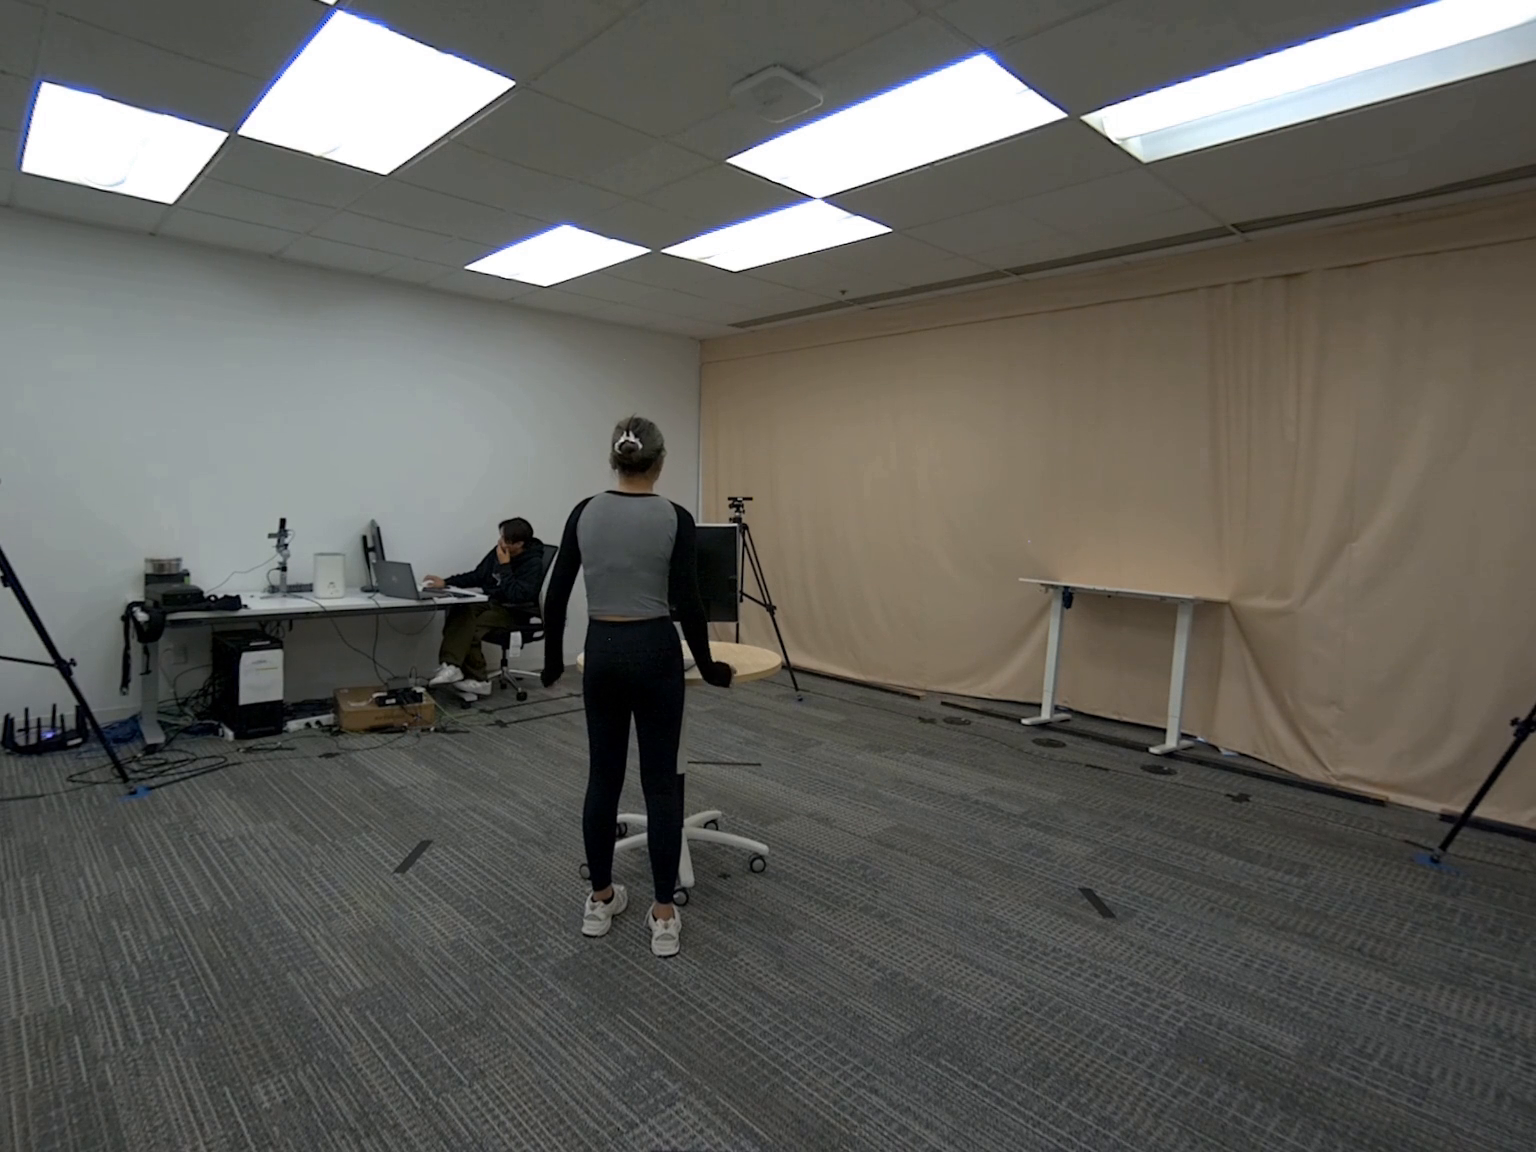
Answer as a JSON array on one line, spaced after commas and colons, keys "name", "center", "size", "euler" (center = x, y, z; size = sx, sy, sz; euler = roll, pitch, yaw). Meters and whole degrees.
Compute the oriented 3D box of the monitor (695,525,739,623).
[{"name": "monitor", "center": [-0.379, 0.076, 2.992], "size": [0.540, 0.522, 0.187], "euler": [1, 1, 3]}]
